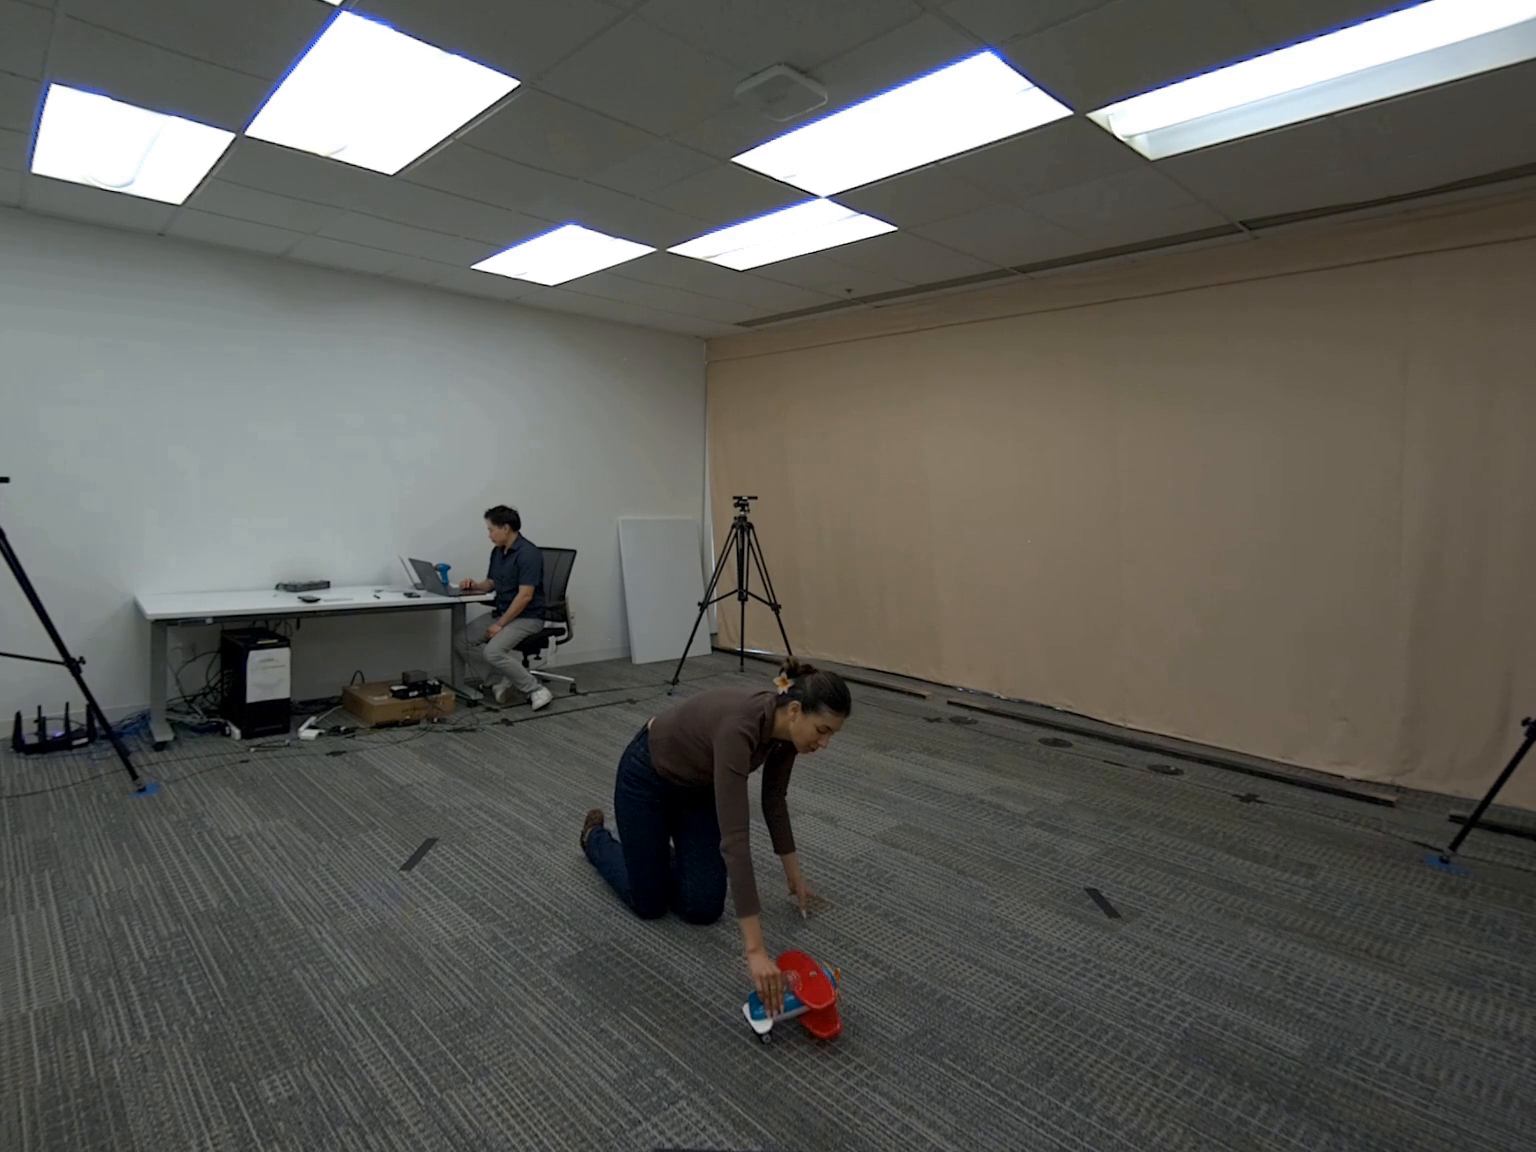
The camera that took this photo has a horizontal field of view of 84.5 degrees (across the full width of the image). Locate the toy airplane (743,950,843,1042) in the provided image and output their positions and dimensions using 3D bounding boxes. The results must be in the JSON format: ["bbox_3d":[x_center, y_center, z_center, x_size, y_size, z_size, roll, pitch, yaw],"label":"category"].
[{"bbox_3d":[0.077,1.123,2.181,0.257,0.156,0.253,5,6,40],"label":"toy airplane"}]
